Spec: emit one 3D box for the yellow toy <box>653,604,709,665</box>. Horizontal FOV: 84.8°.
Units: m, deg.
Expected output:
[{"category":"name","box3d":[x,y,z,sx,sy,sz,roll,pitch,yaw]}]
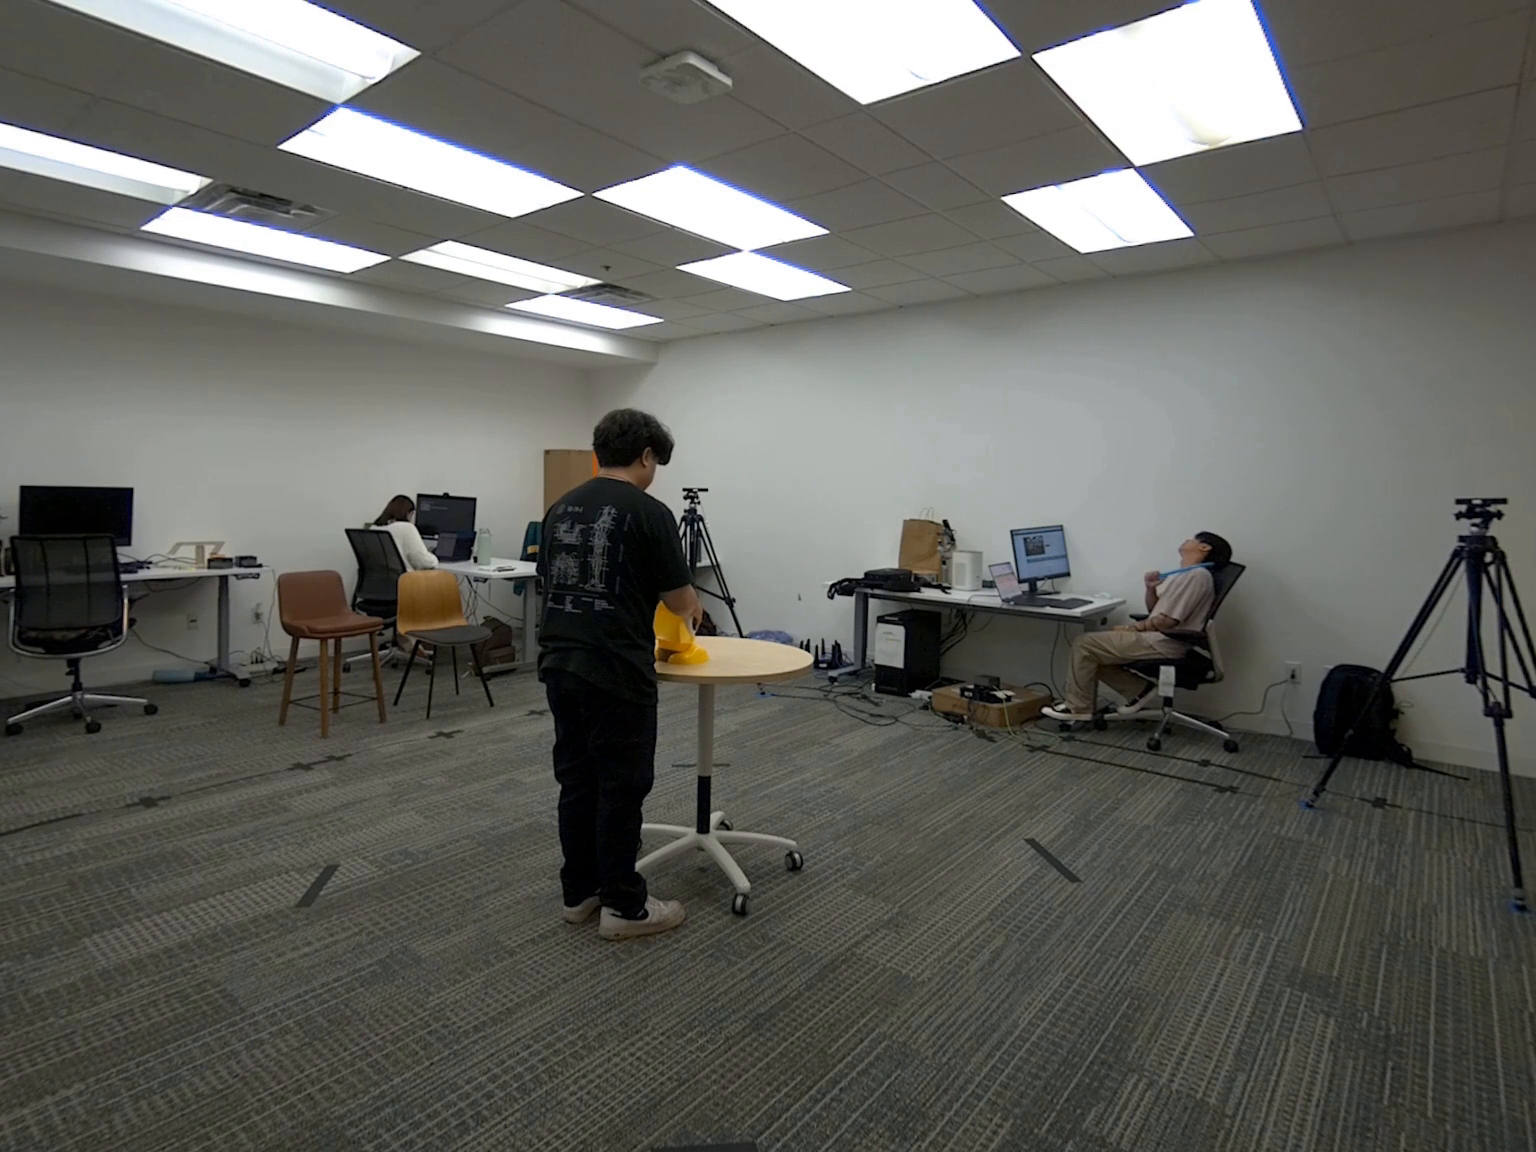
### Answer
[{"category":"yellow toy","box3d":[-0.324,0.173,2.955,0.212,0.230,0.187,4,5,41]}]
